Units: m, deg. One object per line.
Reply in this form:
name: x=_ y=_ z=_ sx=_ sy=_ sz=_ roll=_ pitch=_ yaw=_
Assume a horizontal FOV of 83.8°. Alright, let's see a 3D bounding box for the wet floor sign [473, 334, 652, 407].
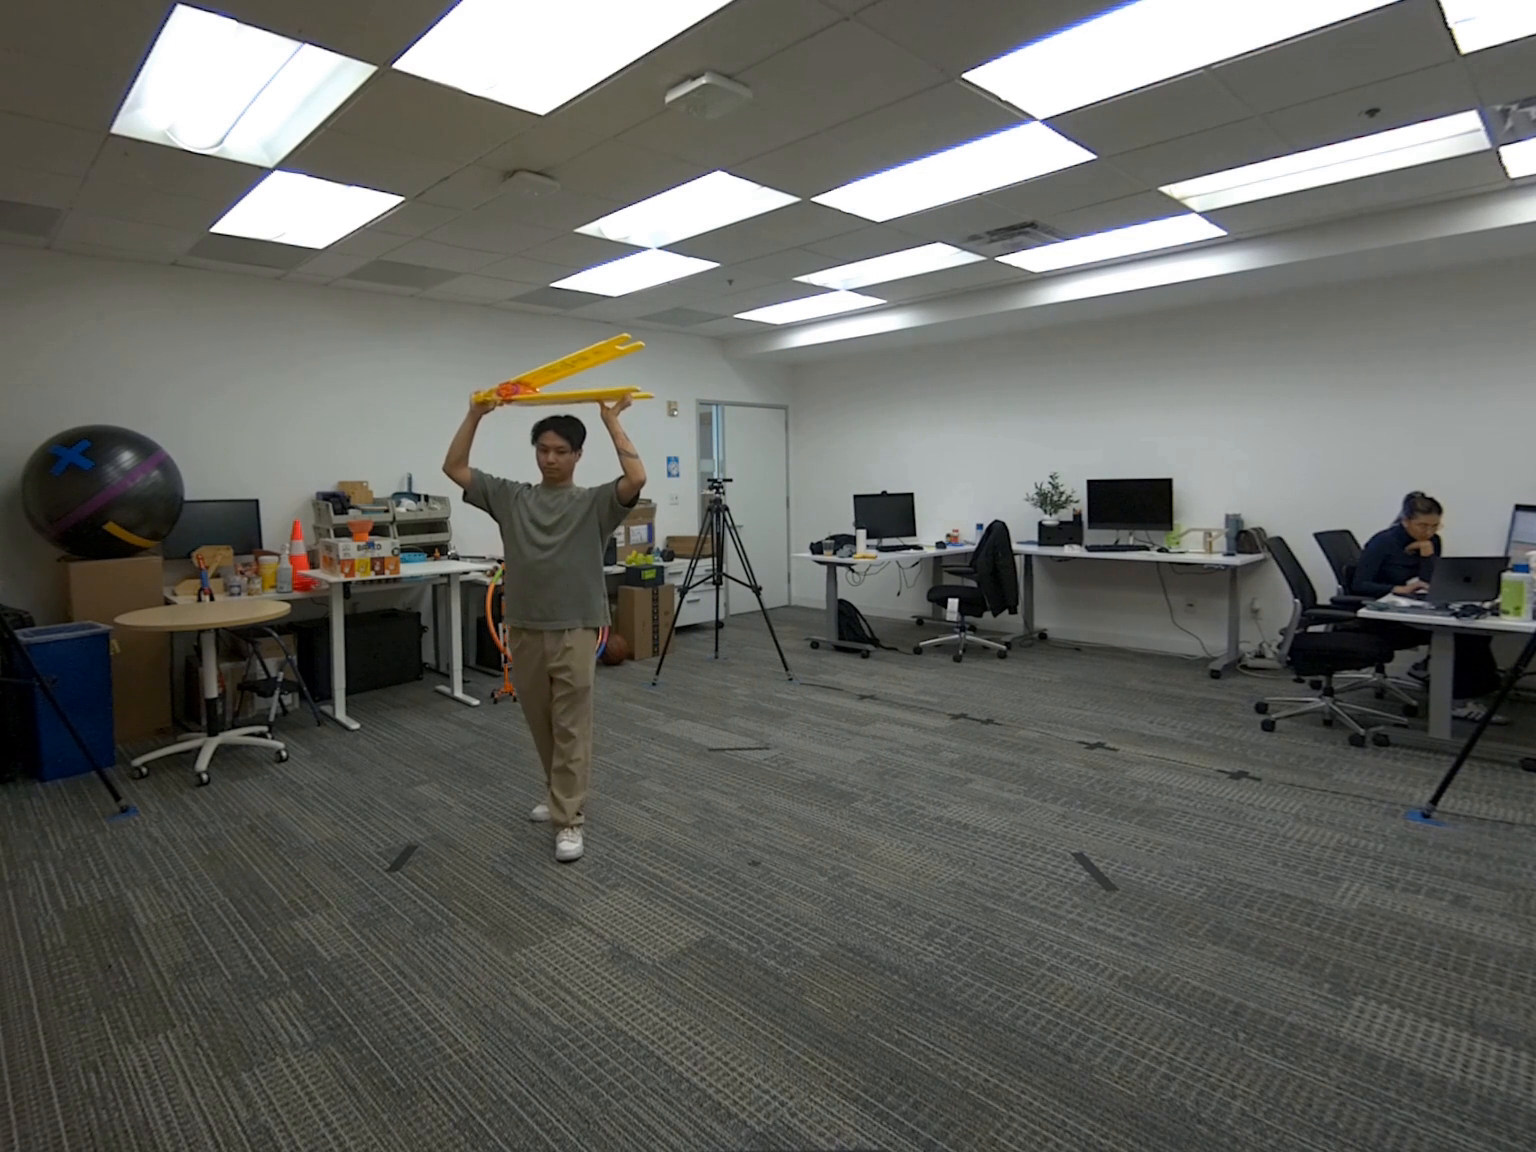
wet floor sign: x=-0.797 y=-0.737 z=3.287 sx=0.652 sy=0.289 sz=0.280 roll=-7 pitch=3 yaw=10
